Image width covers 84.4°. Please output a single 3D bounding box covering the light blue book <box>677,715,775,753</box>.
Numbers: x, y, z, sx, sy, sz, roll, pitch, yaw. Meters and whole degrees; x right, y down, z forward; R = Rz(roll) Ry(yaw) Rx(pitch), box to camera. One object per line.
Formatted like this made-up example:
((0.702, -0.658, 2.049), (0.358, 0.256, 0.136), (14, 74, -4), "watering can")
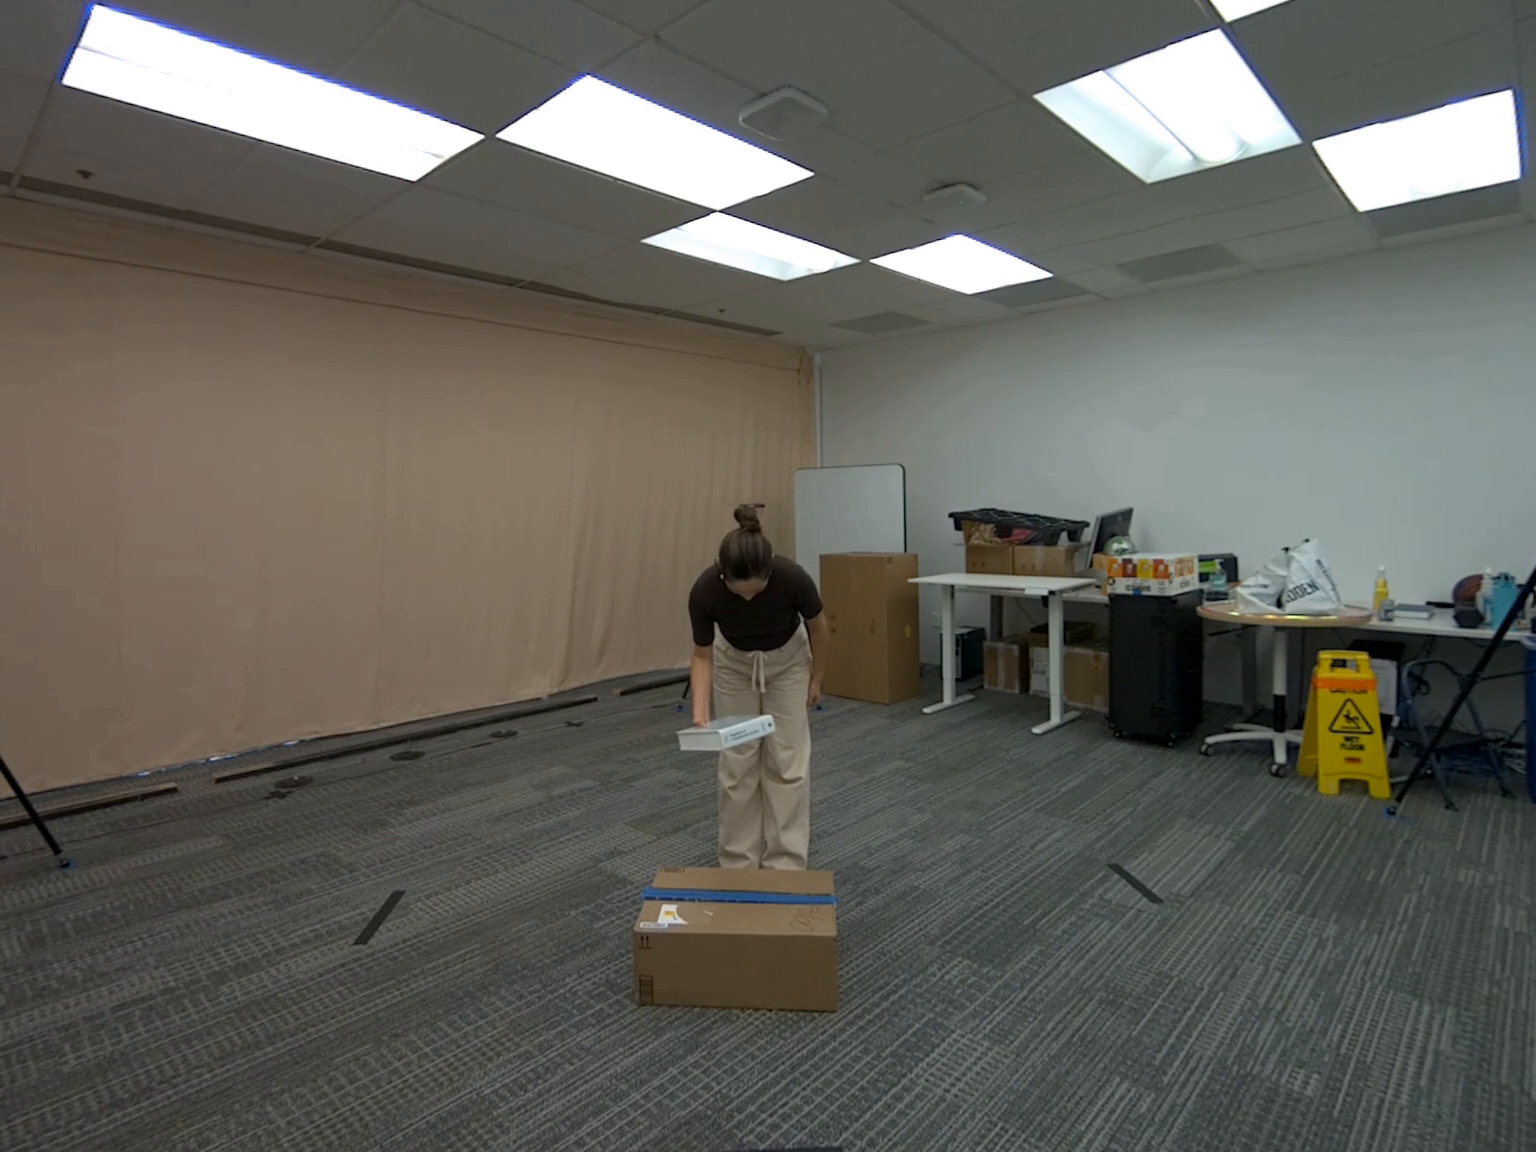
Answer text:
((-0.137, 0.493, 2.675), (0.197, 0.059, 0.253), (-10, -2, 38), "light blue book")
